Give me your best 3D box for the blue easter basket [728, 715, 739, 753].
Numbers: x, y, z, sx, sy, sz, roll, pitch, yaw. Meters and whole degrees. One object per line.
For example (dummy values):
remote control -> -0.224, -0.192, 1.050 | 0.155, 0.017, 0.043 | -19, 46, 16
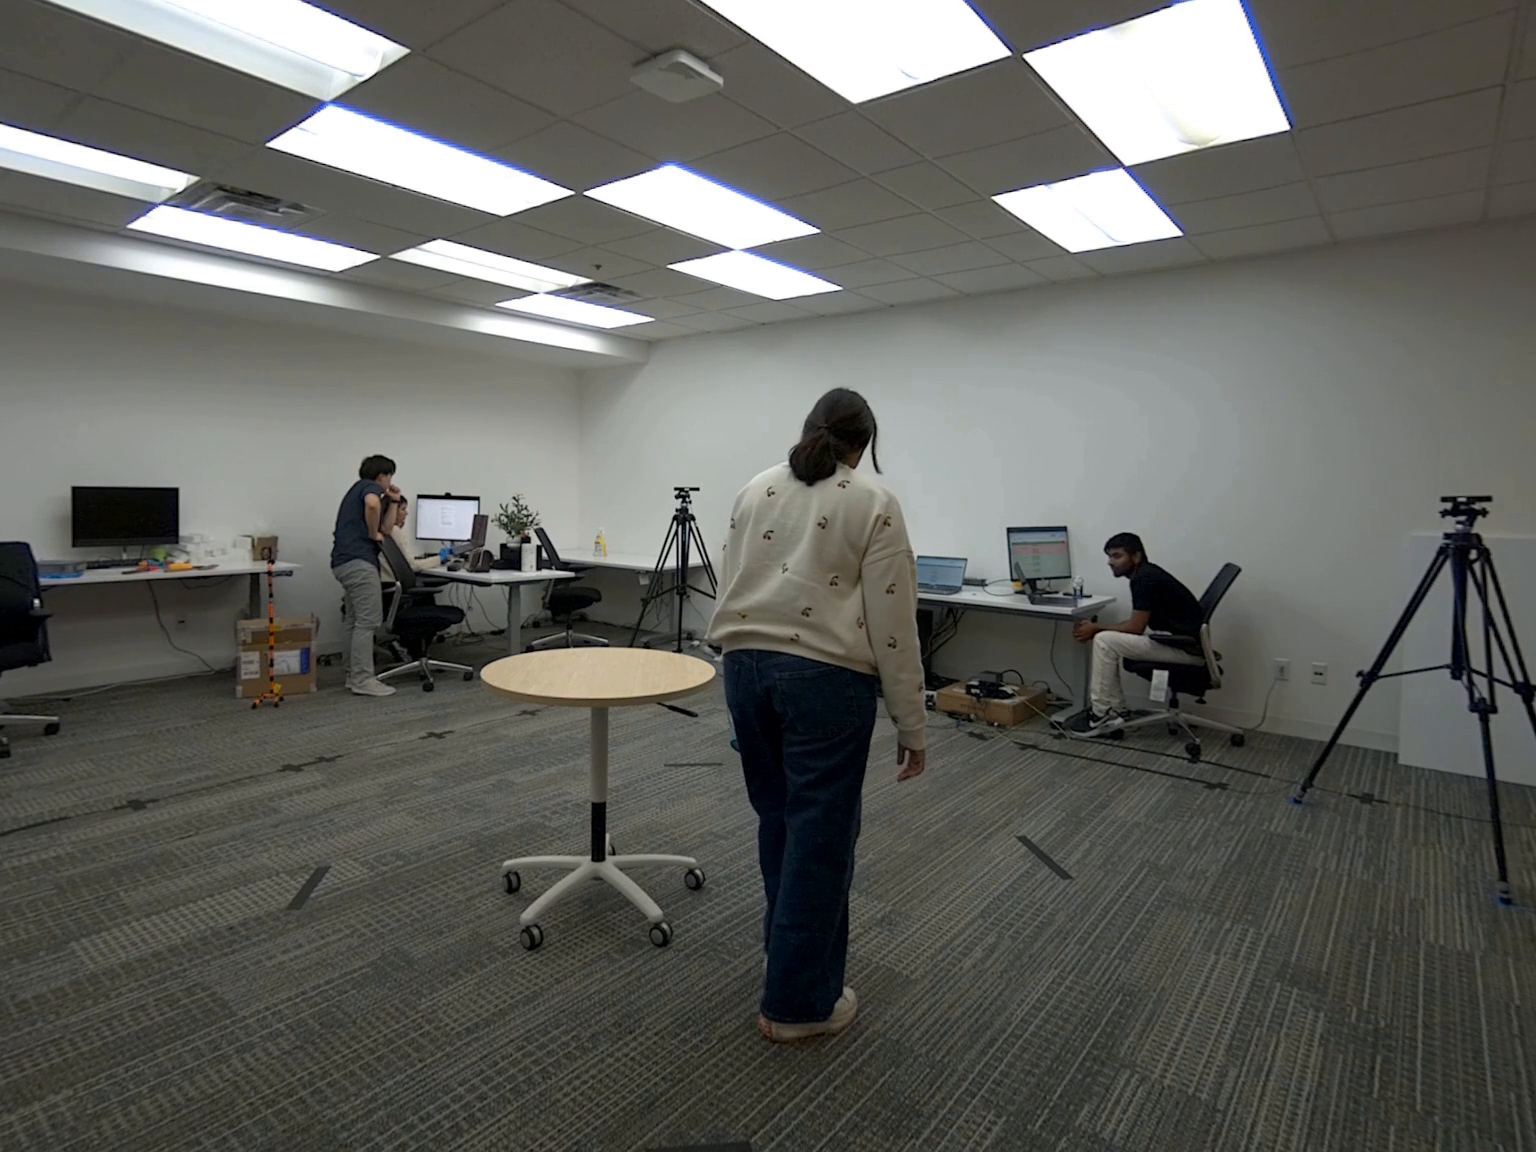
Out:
blue easter basket -> -0.011, 0.465, 2.571 | 0.246, 0.158, 0.238 | 14, -29, 6
